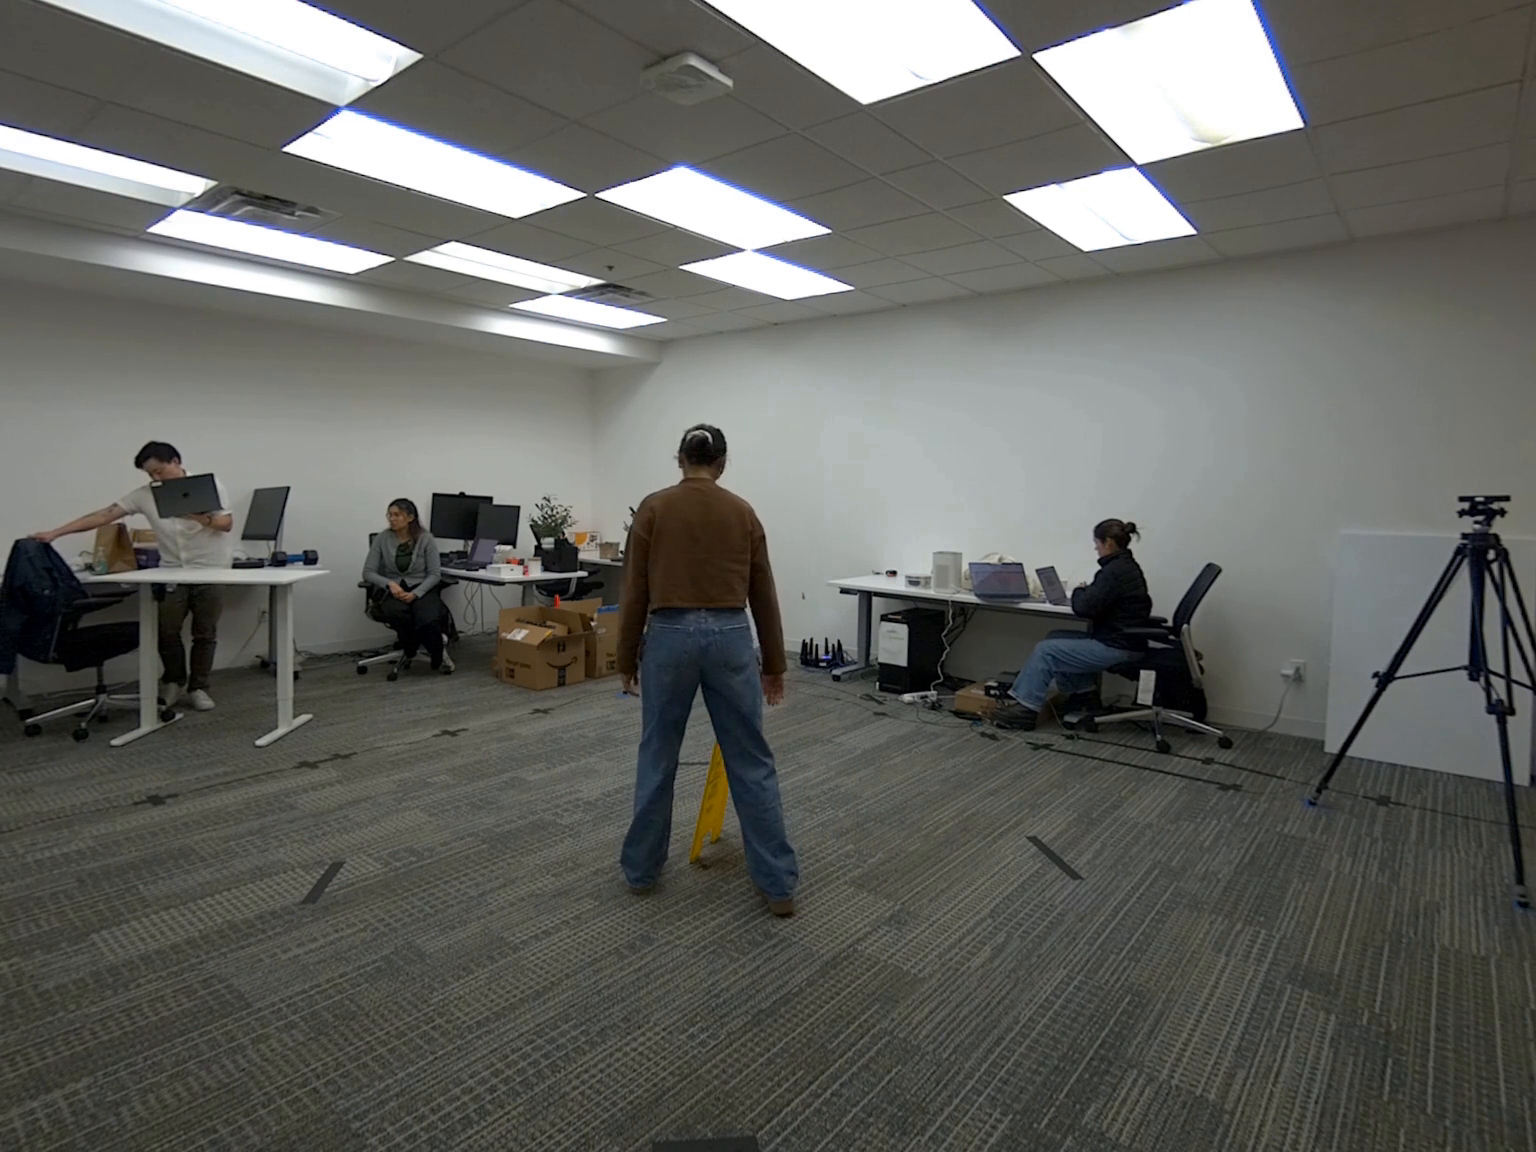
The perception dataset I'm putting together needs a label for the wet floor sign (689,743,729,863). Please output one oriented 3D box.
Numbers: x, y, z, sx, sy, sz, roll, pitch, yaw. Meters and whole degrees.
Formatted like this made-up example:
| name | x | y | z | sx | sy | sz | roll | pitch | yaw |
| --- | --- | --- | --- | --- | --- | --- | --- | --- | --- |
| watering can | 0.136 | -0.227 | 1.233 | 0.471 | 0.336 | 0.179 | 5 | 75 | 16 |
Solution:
| name | x | y | z | sx | sy | sz | roll | pitch | yaw |
| --- | --- | --- | --- | --- | --- | --- | --- | --- | --- |
| wet floor sign | -0.121 | 0.731 | 3.213 | 0.296 | 0.644 | 0.277 | 2 | 4 | 19 |
